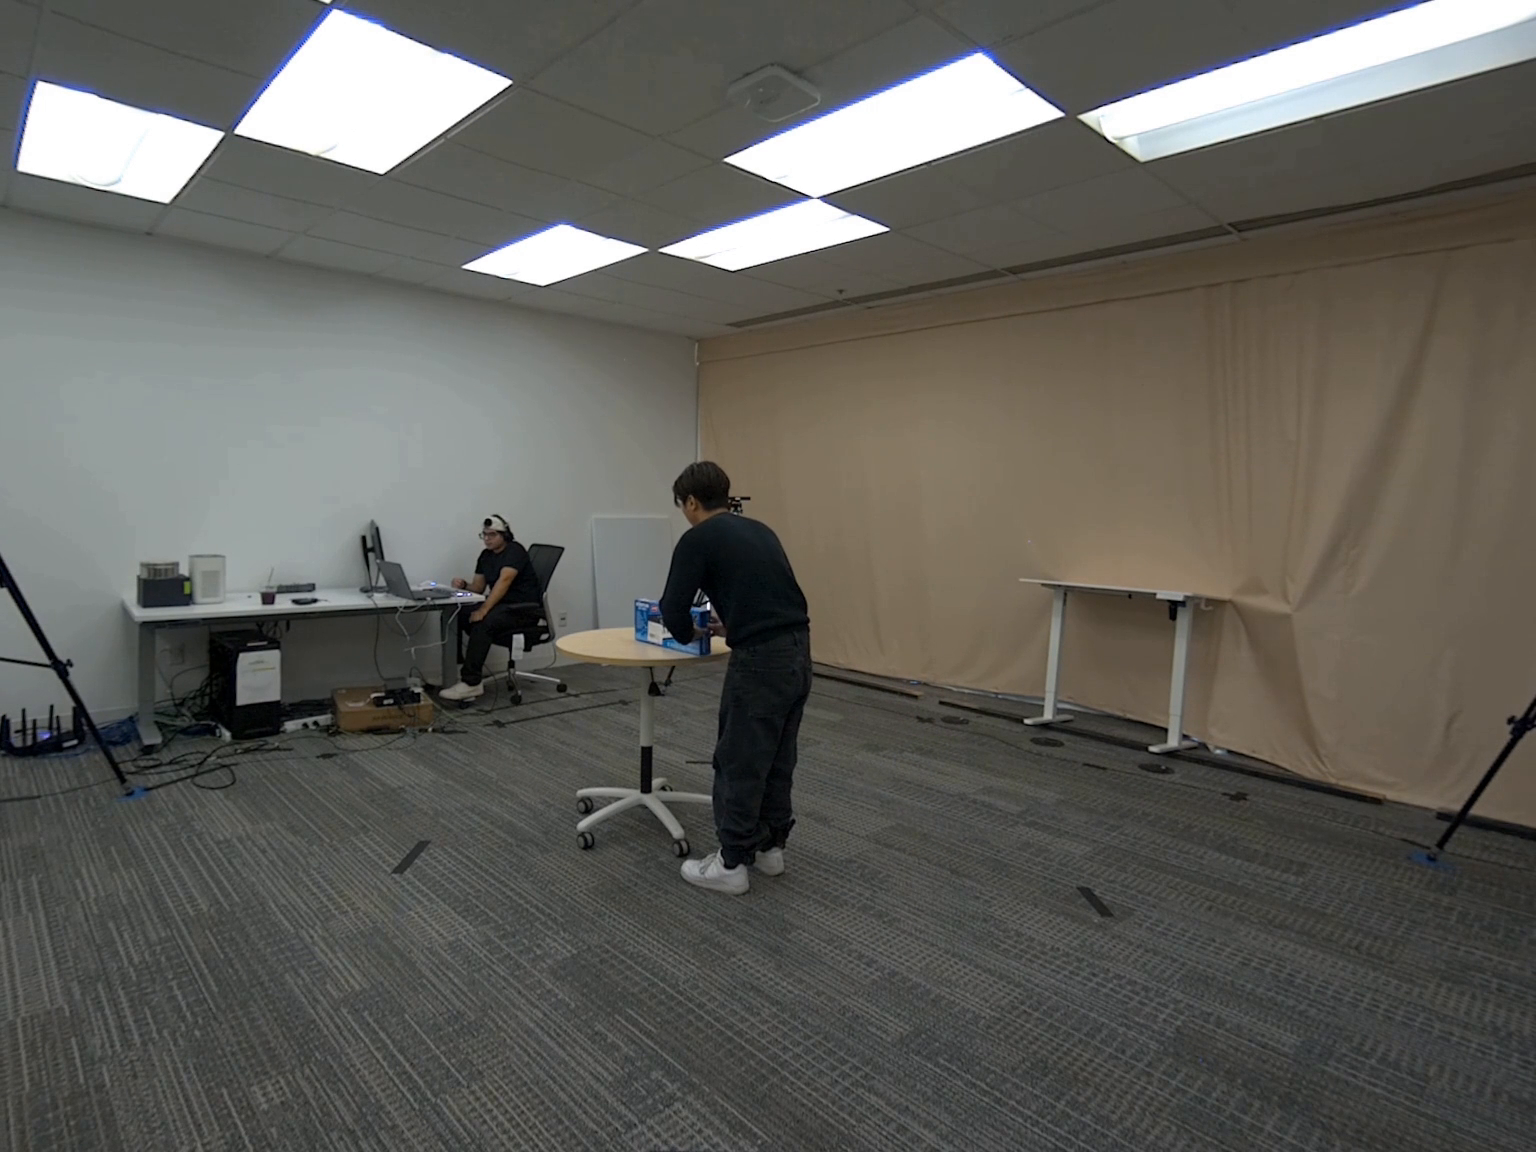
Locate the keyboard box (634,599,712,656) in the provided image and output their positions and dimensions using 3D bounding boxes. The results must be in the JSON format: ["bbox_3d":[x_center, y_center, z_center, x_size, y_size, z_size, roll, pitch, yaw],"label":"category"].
[{"bbox_3d":[-0.402,0.205,3.425,0.058,0.175,0.448,-3,7,-42],"label":"keyboard box"}]
